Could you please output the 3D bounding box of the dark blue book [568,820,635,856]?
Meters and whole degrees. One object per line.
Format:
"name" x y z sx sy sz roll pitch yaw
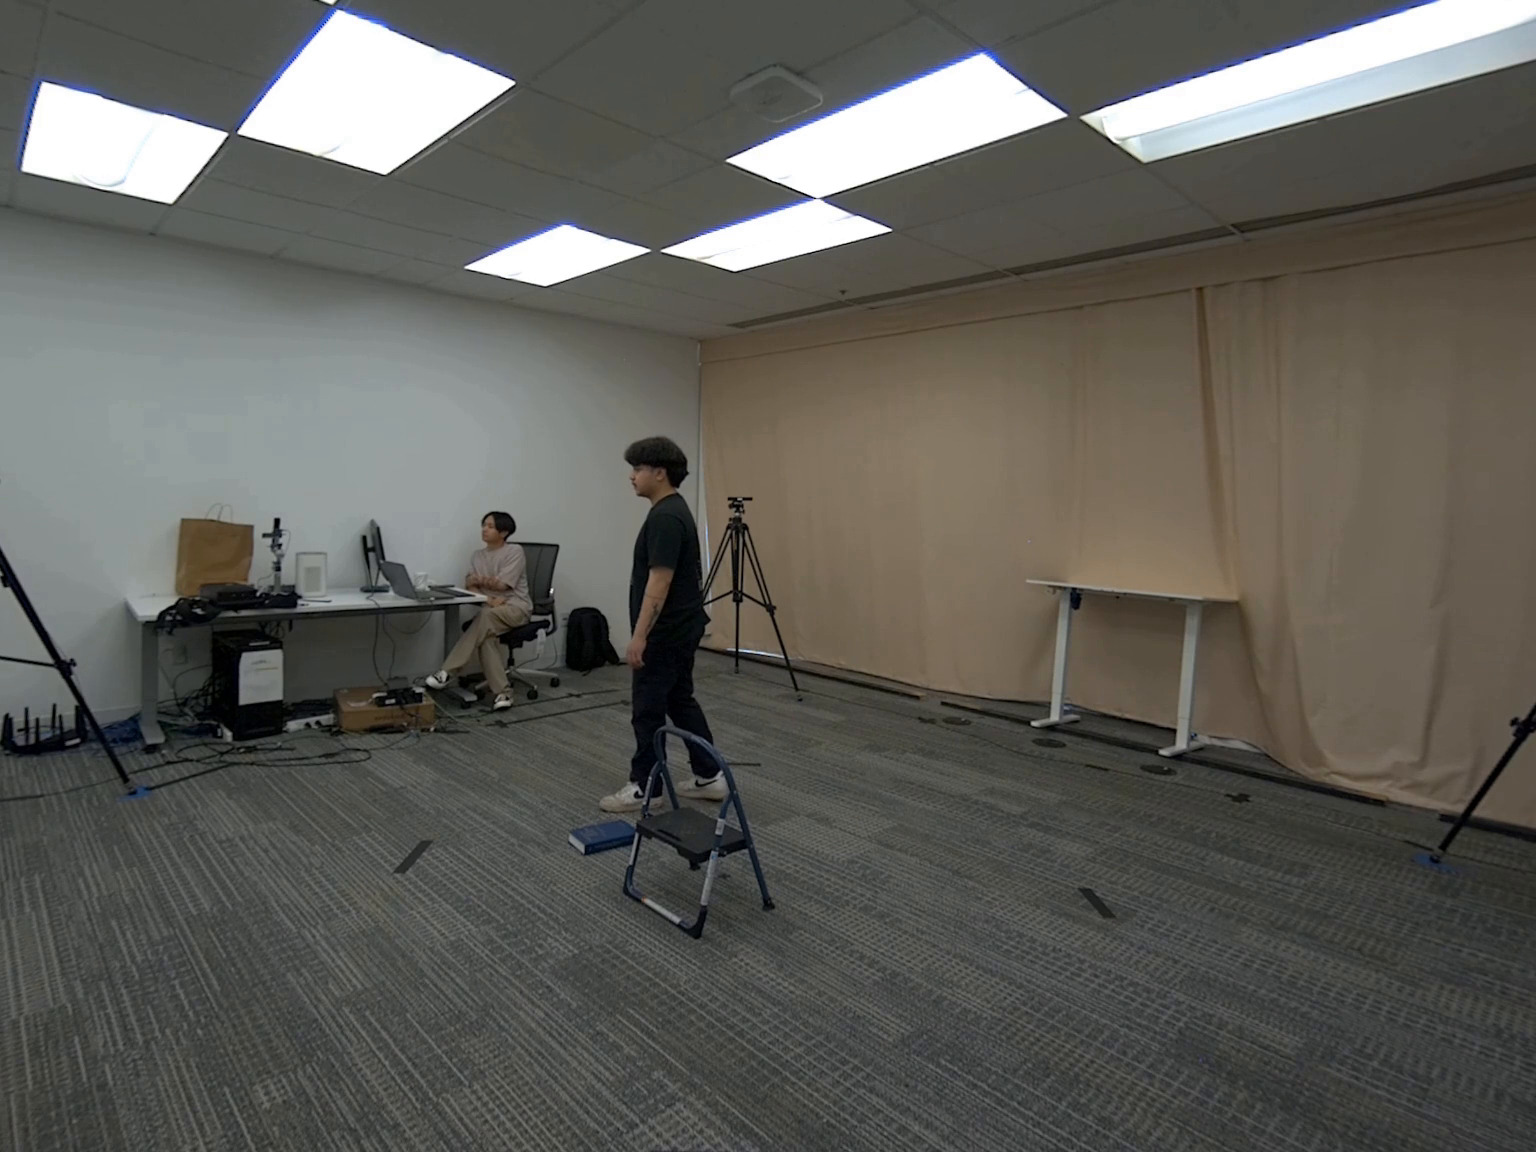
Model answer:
"dark blue book" -0.672 1.050 3.386 0.240 0.045 0.167 -3 6 -36
